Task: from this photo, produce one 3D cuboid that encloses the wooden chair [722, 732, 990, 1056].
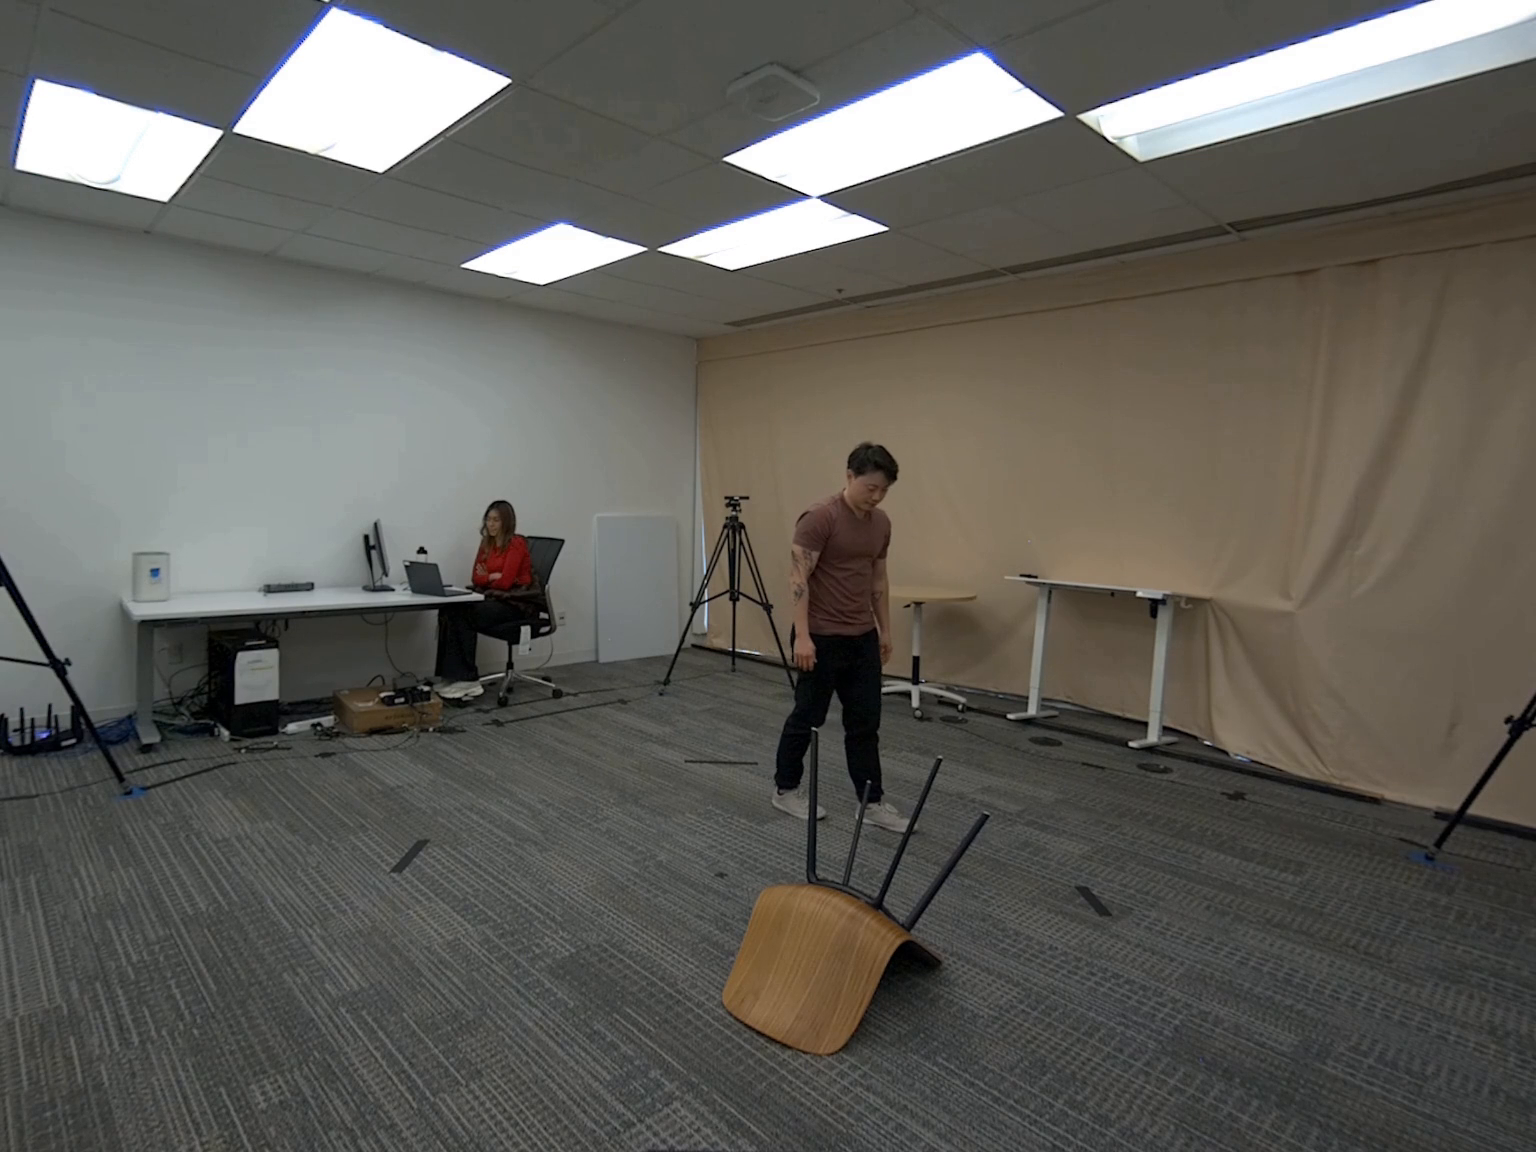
[{"bbox_3d":[0.269,0.996,2.537,0.490,0.883,0.507,4,-36,38],"label":"wooden chair"}]
